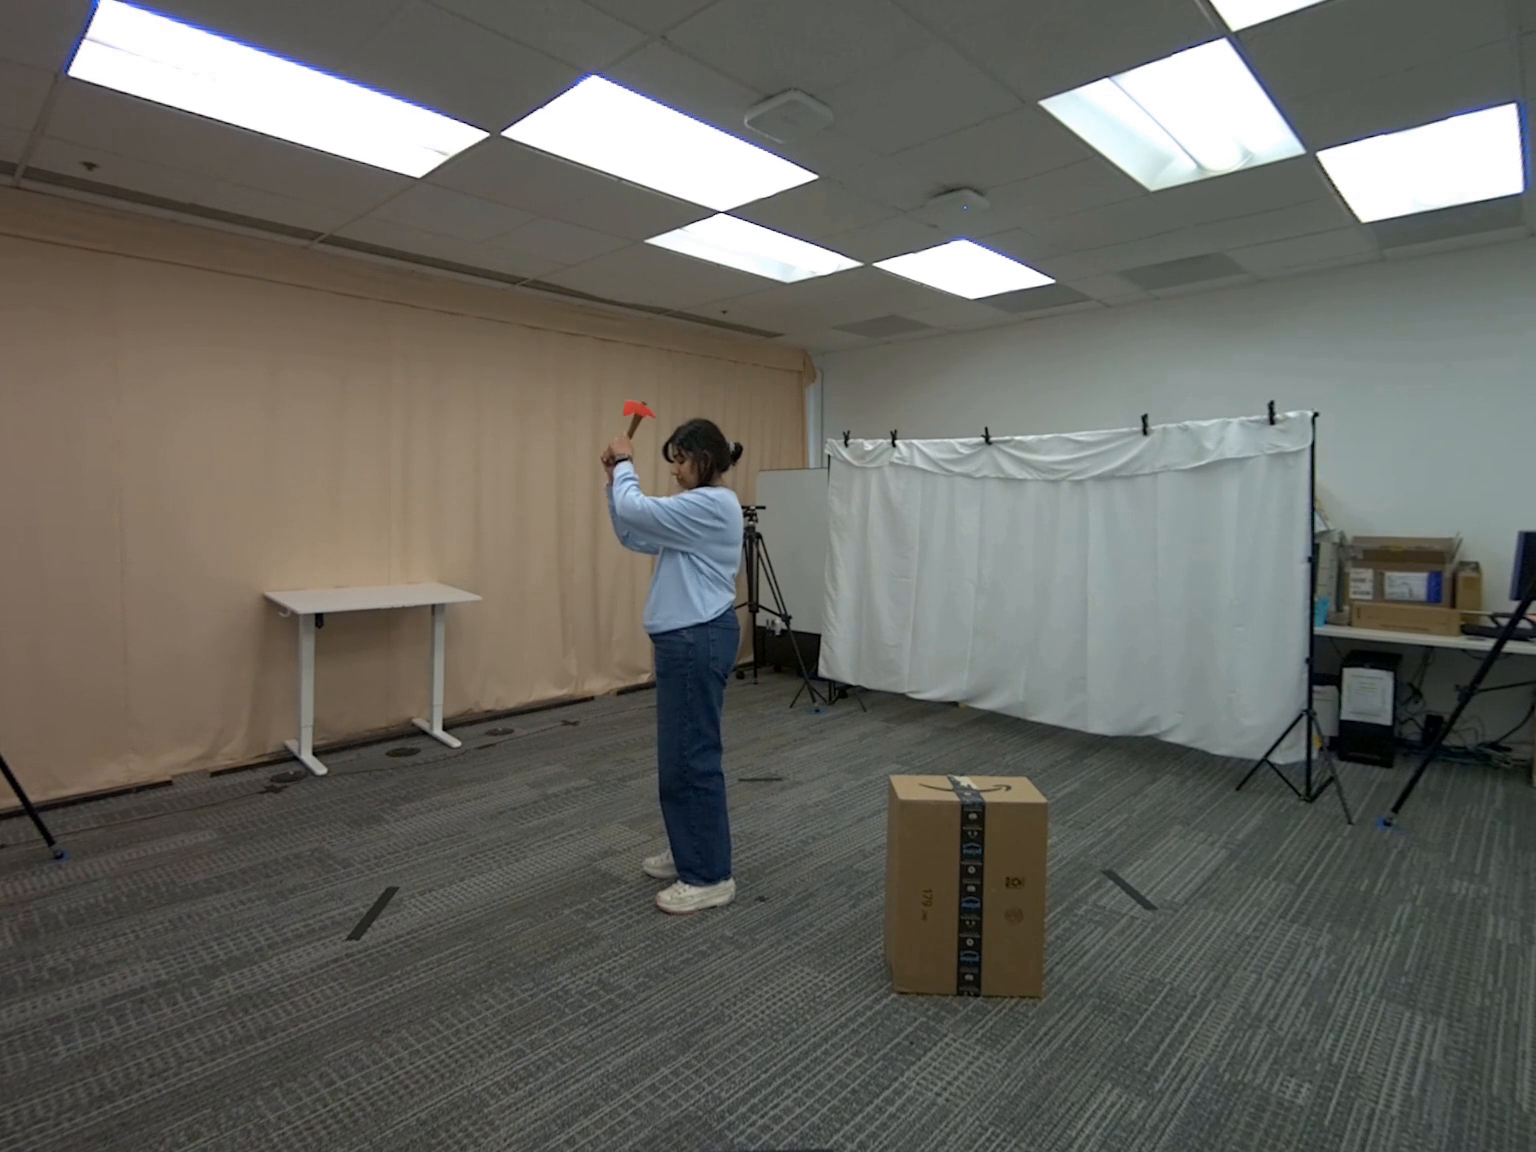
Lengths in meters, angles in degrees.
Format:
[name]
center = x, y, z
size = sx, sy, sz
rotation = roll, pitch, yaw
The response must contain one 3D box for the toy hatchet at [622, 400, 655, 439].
[toy hatchet]
center = -0.539, -0.508, 3.073
size = 0.127, 0.269, 0.030
rotation = 47, -13, -32
